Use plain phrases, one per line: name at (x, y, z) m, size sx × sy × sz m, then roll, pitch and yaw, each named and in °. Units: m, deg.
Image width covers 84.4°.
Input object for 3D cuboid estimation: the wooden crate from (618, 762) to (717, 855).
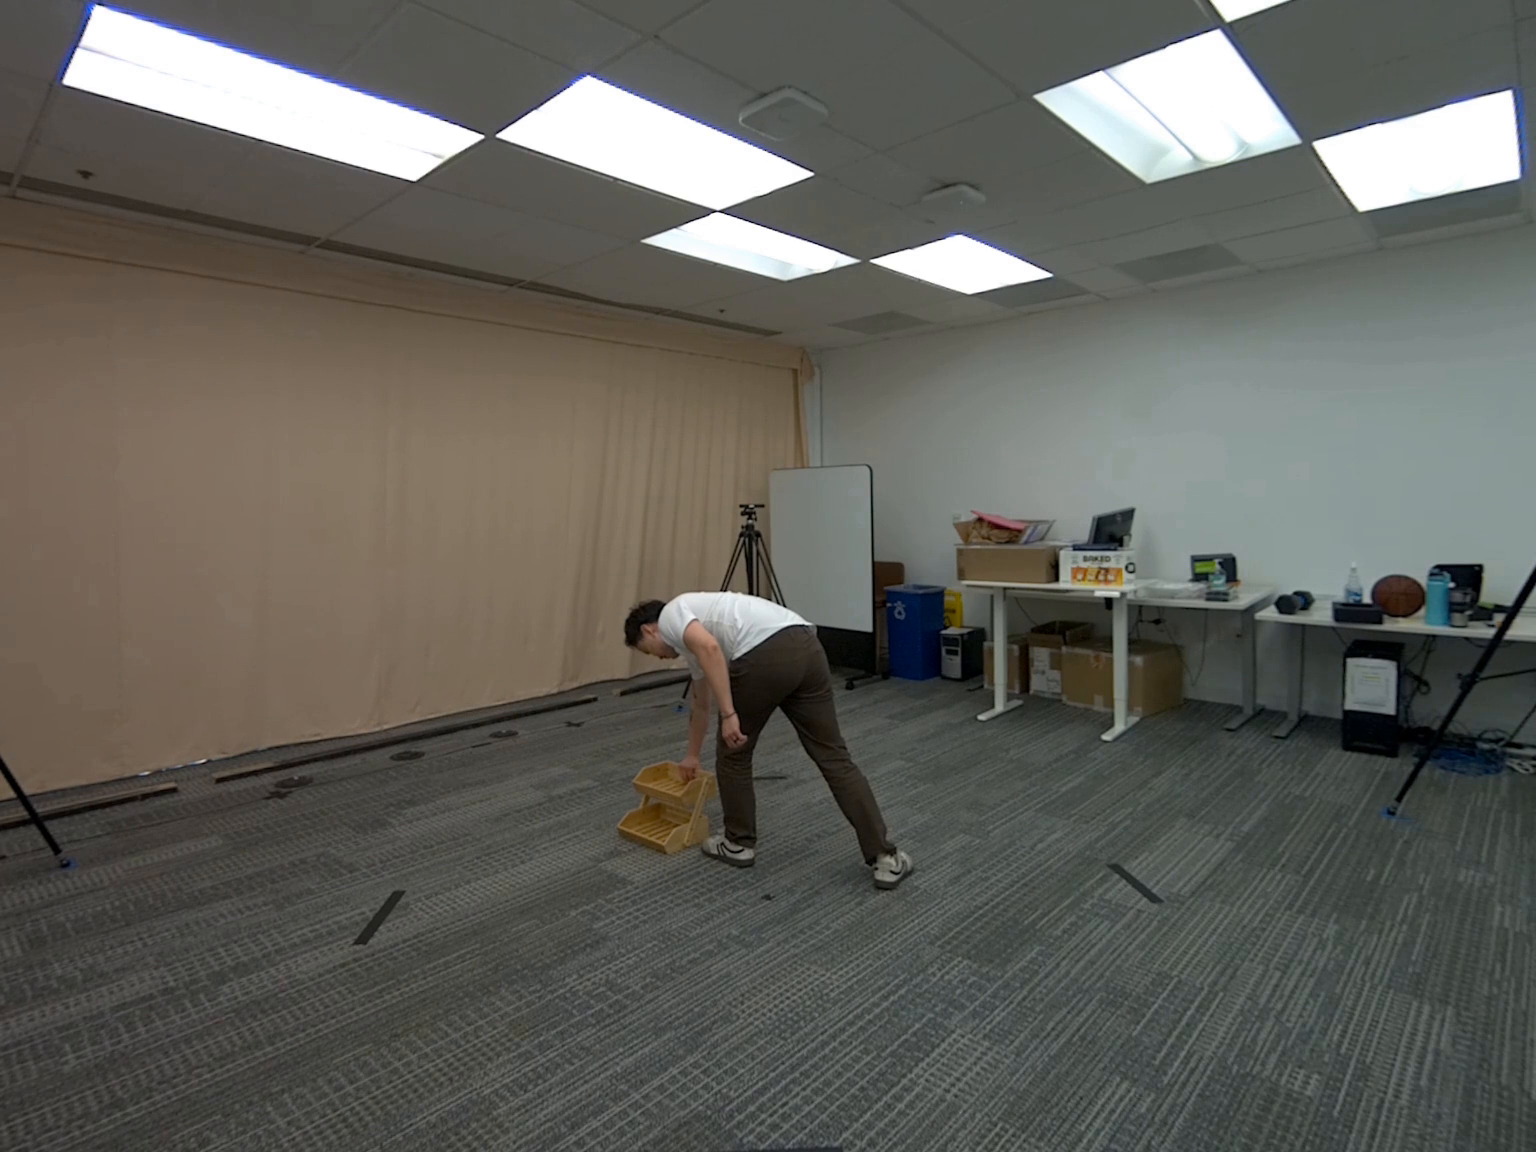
wooden crate at (-0.428, 0.965, 3.554) m, size 0.335 × 0.273 × 0.293 m, roll 2°, pitch 4°, yaw 42°
